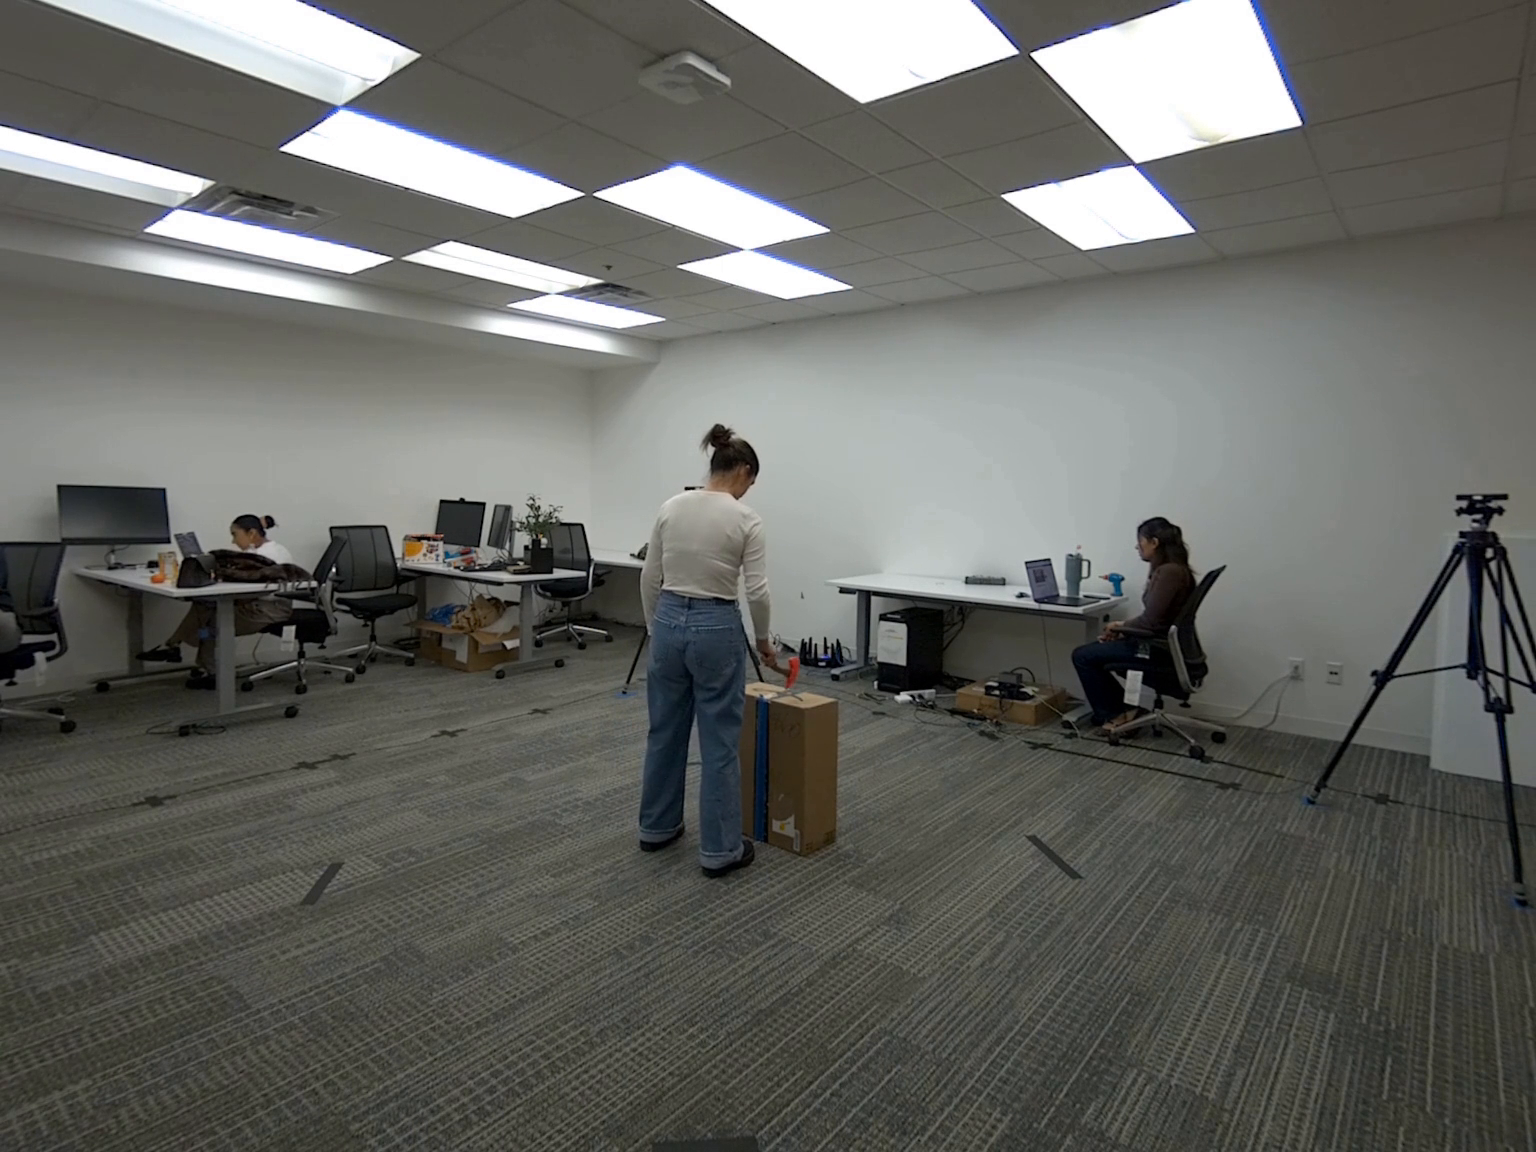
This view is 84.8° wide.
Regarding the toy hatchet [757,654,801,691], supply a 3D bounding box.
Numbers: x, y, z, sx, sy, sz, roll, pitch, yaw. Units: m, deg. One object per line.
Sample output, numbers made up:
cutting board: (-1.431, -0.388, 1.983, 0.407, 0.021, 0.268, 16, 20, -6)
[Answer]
toy hatchet: (0.056, 0.337, 3.299, 0.031, 0.132, 0.259, 16, -26, 34)
